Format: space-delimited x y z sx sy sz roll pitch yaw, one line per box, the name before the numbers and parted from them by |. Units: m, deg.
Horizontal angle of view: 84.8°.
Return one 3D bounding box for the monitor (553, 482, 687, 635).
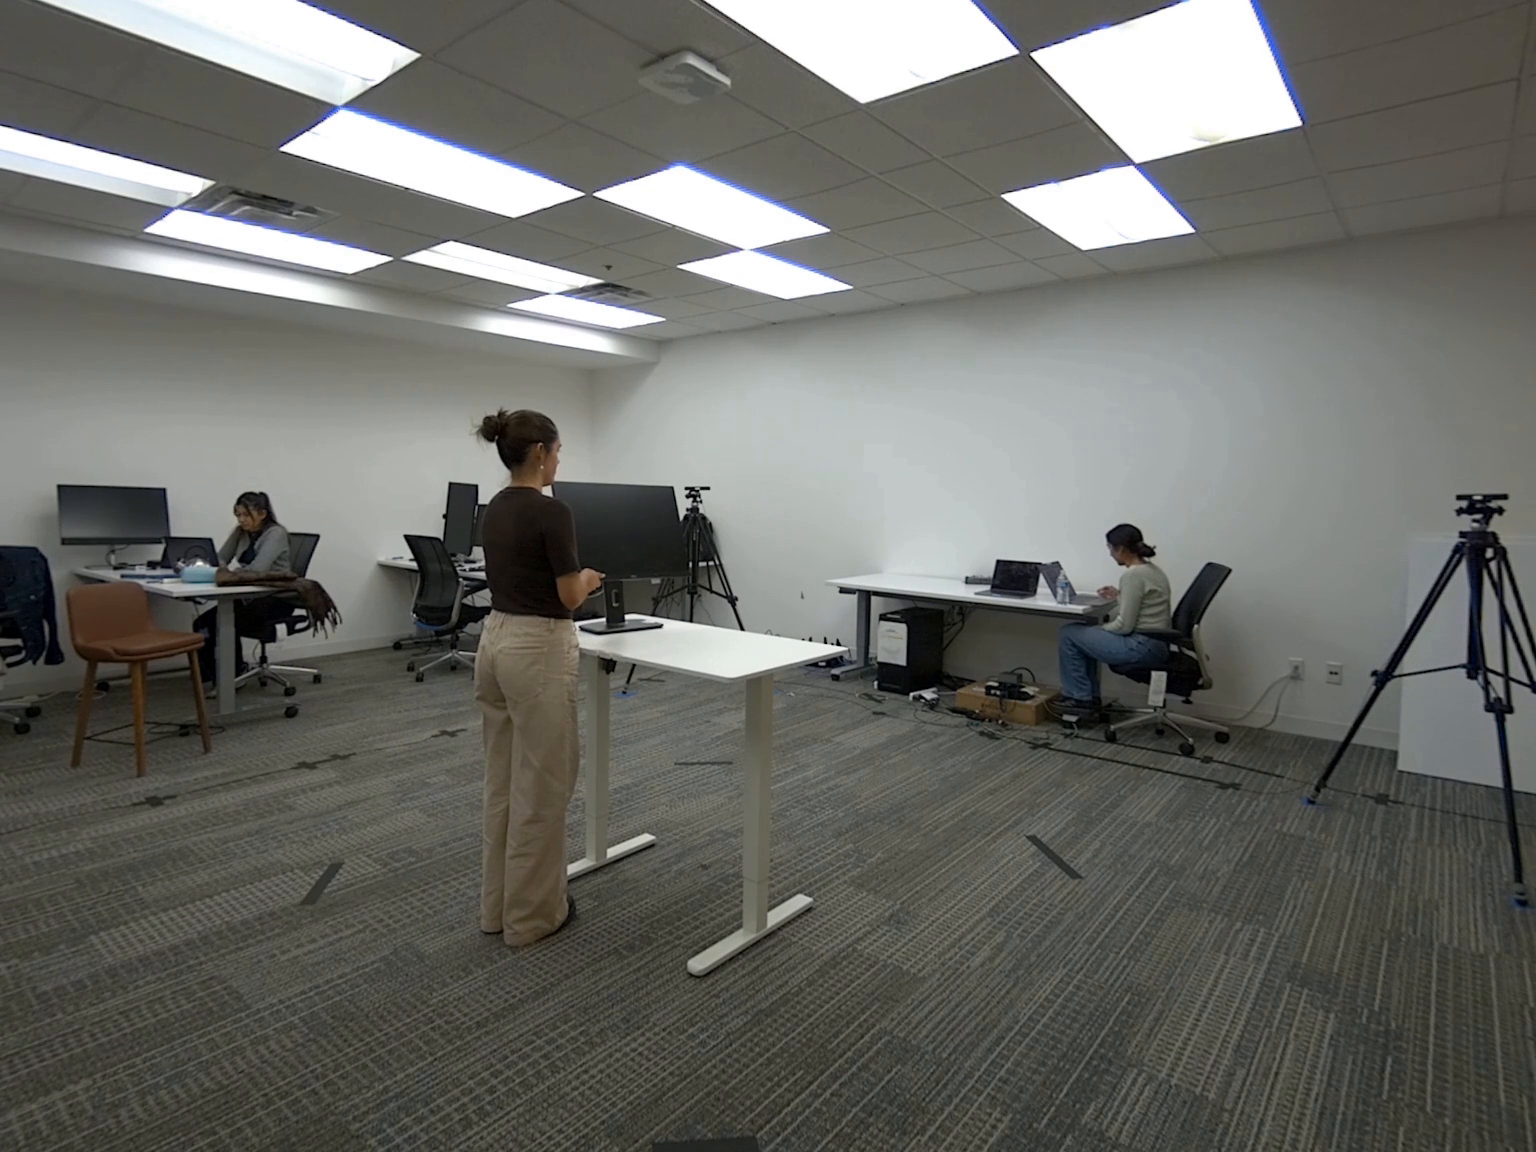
monitor | -0.551 -0.069 3.038 0.522 0.524 0.193 -1 -2 -42
